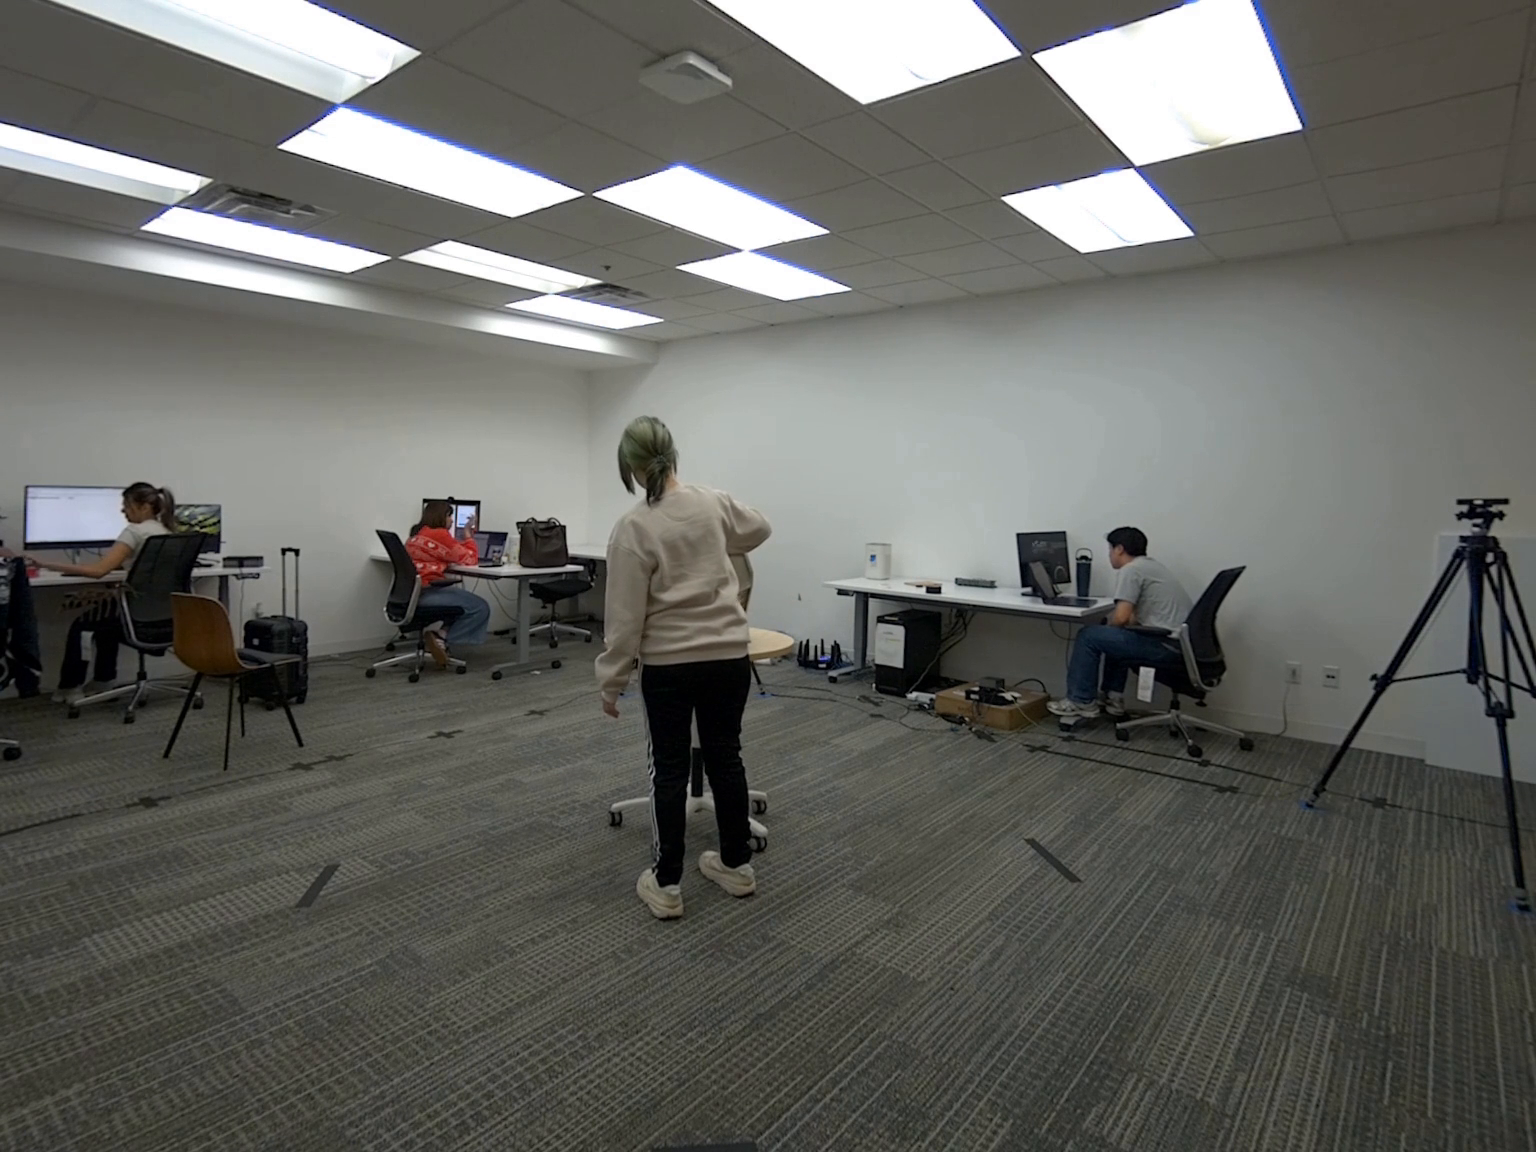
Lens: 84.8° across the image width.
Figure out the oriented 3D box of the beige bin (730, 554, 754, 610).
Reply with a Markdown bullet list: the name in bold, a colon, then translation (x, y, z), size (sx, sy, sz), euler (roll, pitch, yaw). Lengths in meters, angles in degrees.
- **beige bin**: translation (-0.276, 0.037, 3.406), size (0.375, 0.193, 0.417), euler (1, -20, -8)
